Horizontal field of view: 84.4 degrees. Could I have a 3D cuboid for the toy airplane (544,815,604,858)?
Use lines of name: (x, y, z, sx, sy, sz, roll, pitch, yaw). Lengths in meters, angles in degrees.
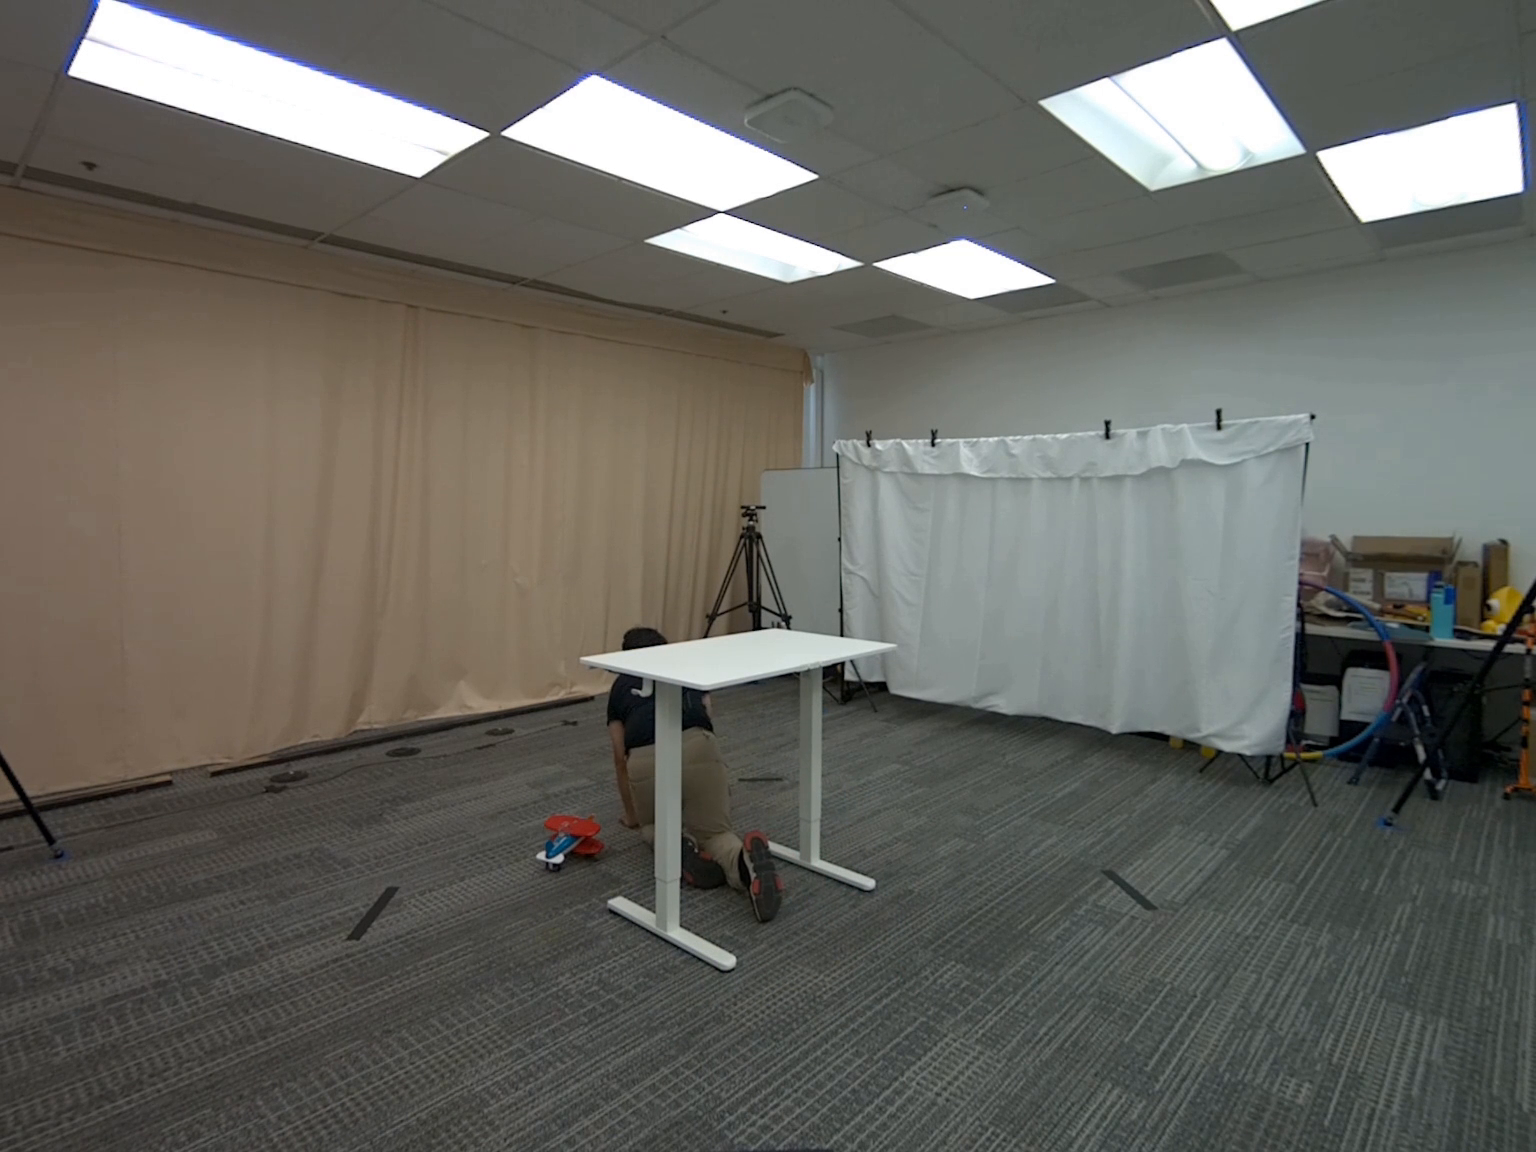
toy airplane: (-0.771, 1.060, 3.304, 0.251, 0.156, 0.260, 0, 3, -1)
